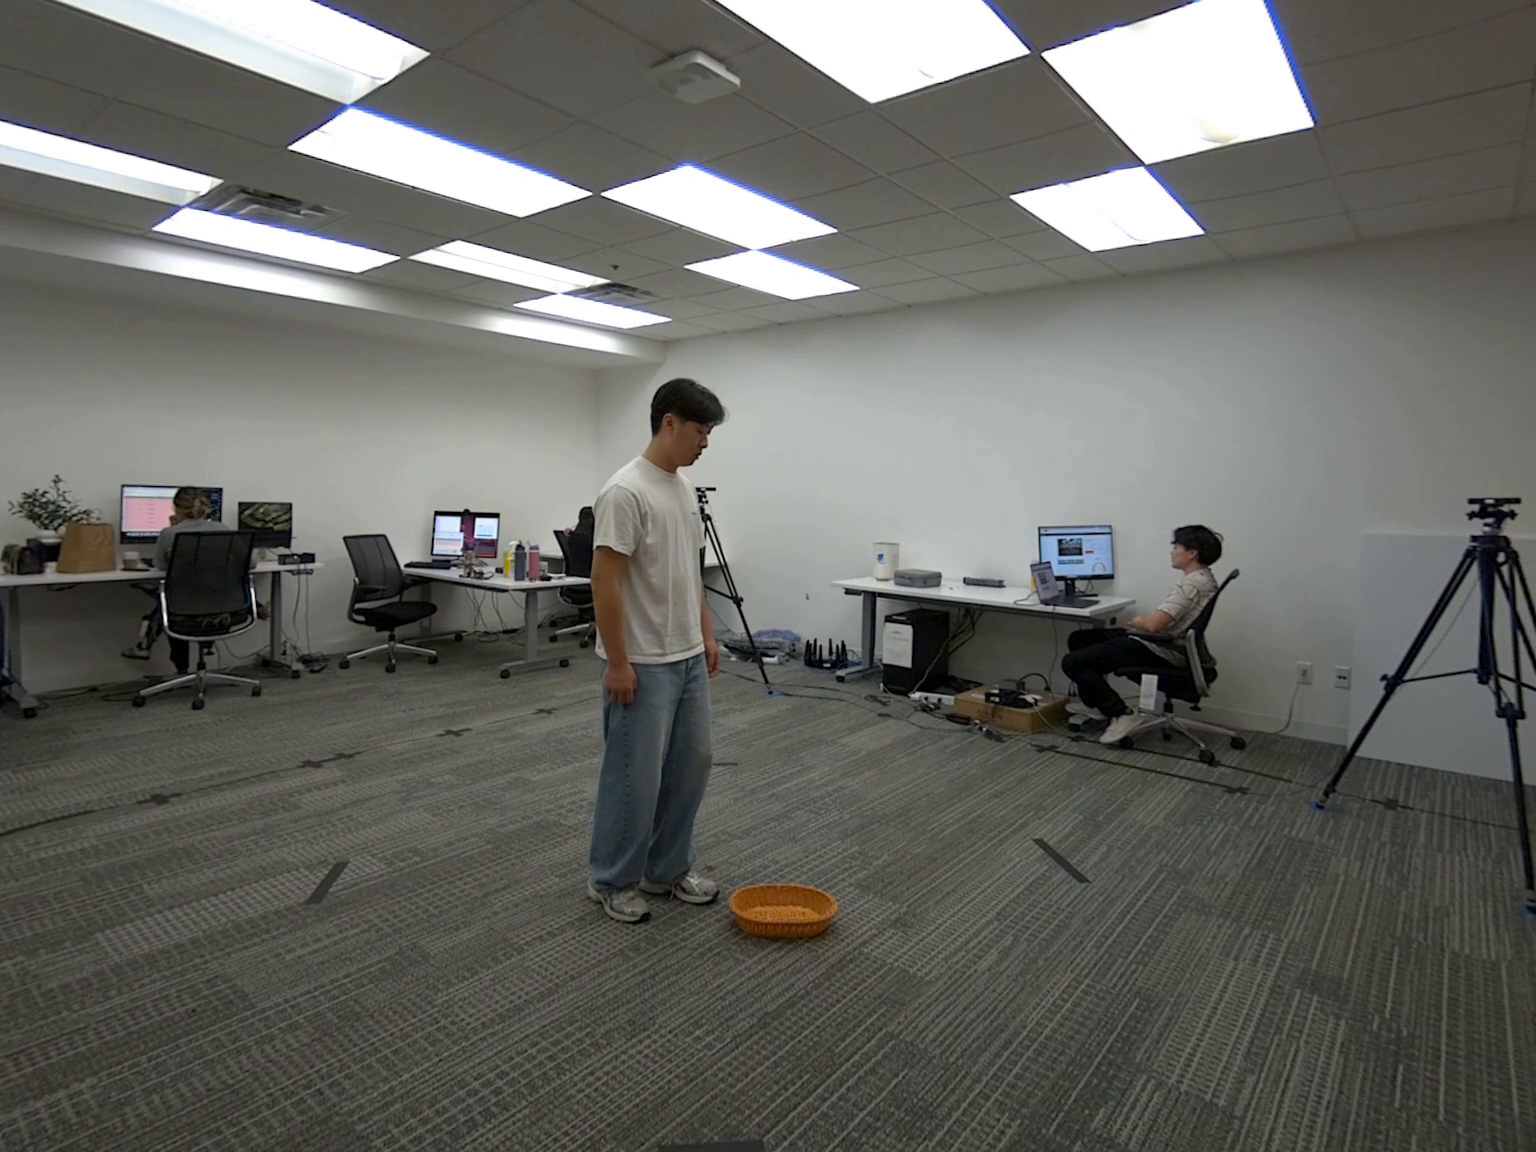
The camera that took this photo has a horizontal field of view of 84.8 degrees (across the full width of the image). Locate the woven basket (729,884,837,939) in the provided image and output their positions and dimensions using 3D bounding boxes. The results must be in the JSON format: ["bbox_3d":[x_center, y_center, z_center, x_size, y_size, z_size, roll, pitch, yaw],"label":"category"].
[{"bbox_3d":[0.037,1.072,2.714,0.349,0.073,0.254,1,5,-3],"label":"woven basket"}]
